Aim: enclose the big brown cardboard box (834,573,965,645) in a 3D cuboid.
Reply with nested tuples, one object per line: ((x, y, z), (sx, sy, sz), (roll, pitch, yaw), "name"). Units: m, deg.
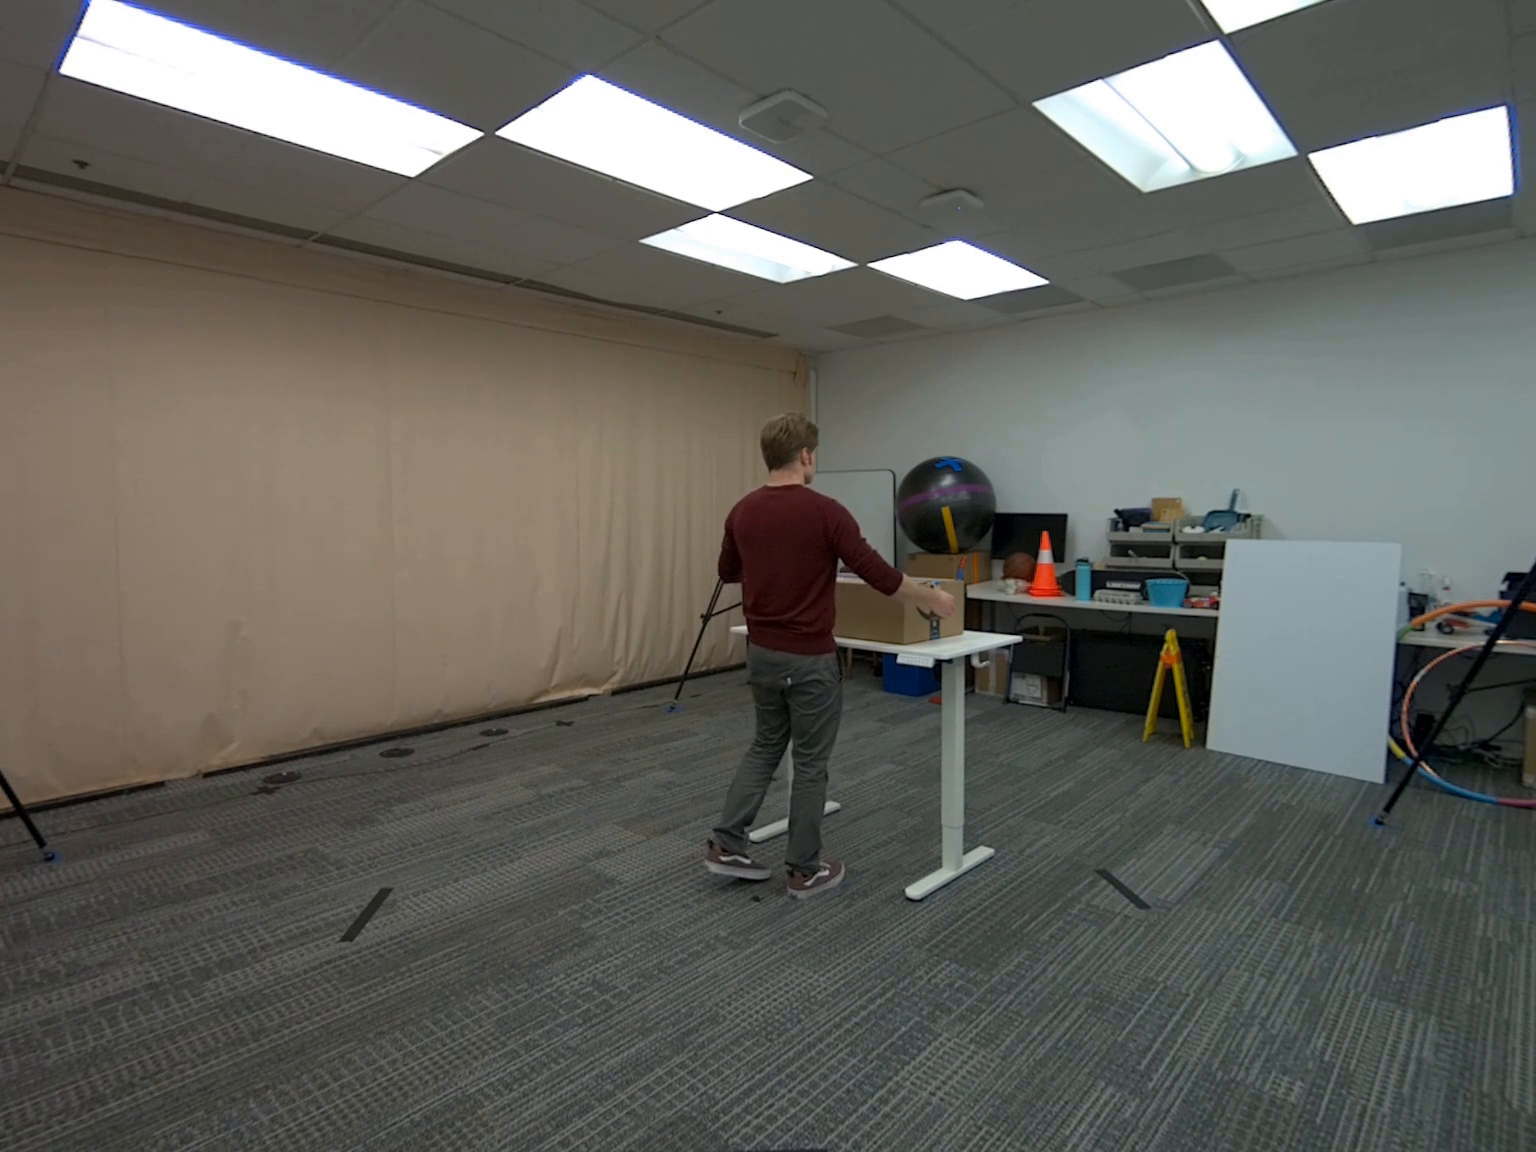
((0.425, 0.118, 3.384), (0.609, 0.233, 0.405), (4, 5, 43), "big brown cardboard box")
